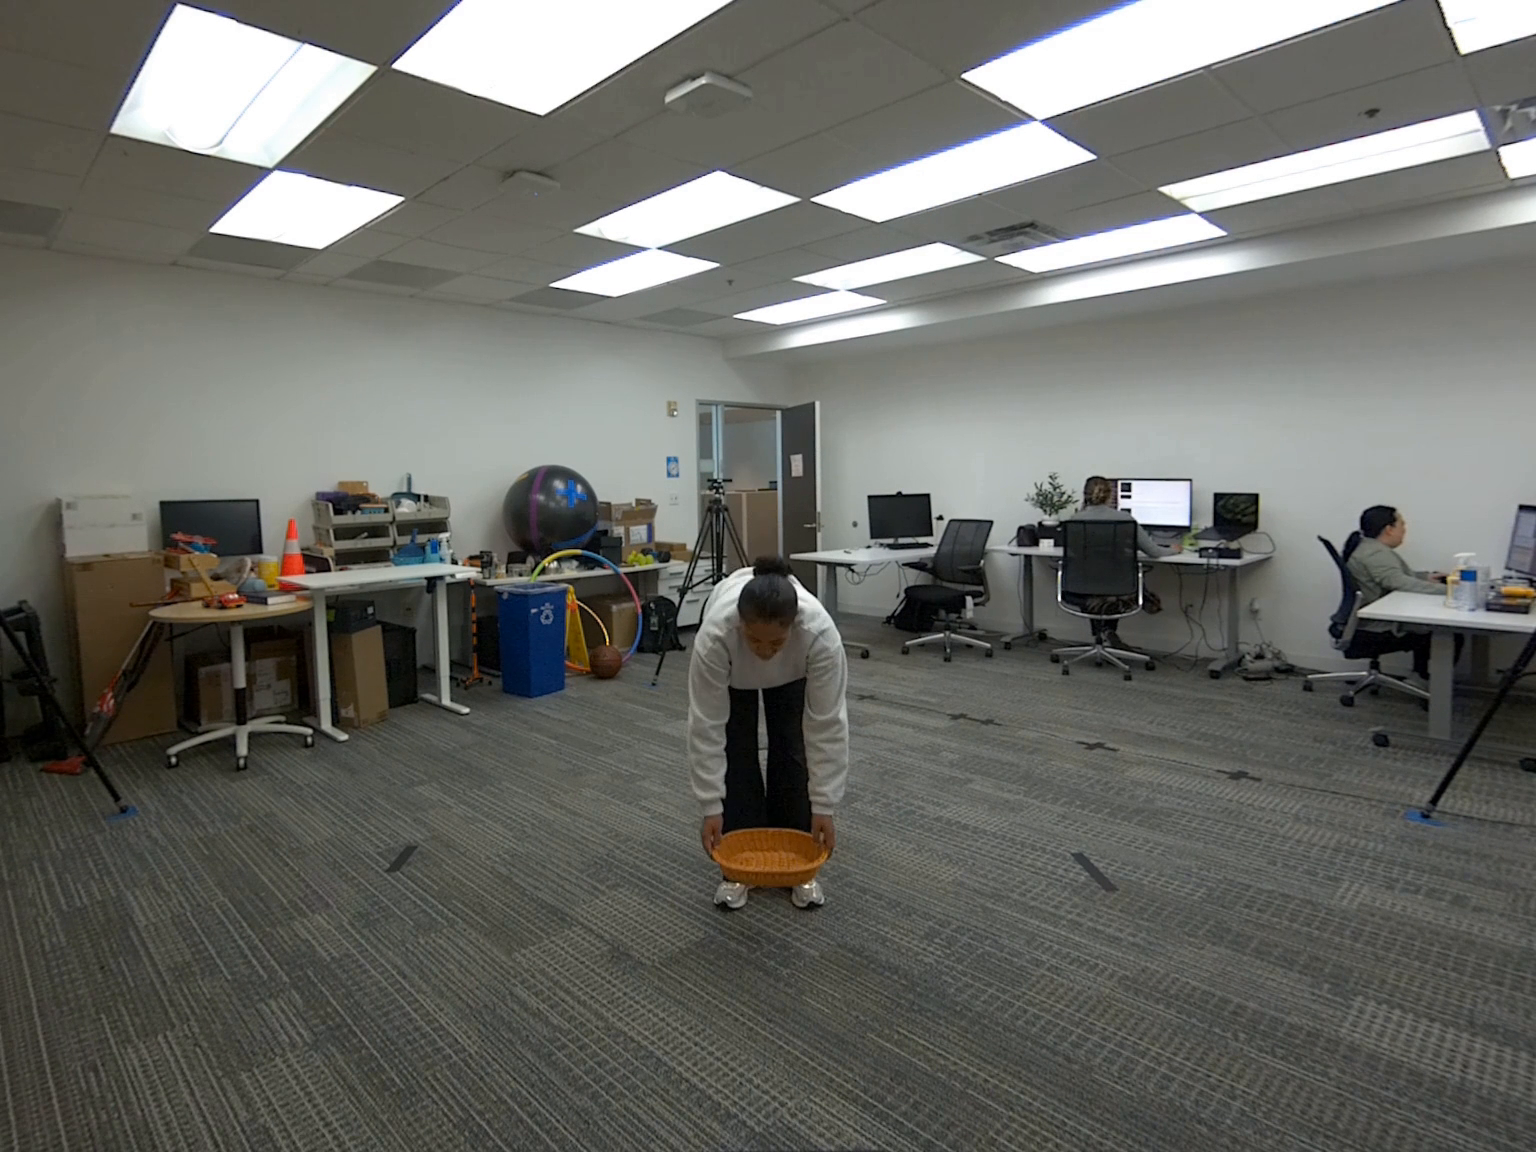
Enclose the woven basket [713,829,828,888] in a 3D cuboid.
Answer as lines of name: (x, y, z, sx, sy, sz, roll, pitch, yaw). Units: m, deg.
woven basket: (0.003, 0.849, 2.548, 0.352, 0.073, 0.253, 0, 9, 4)
